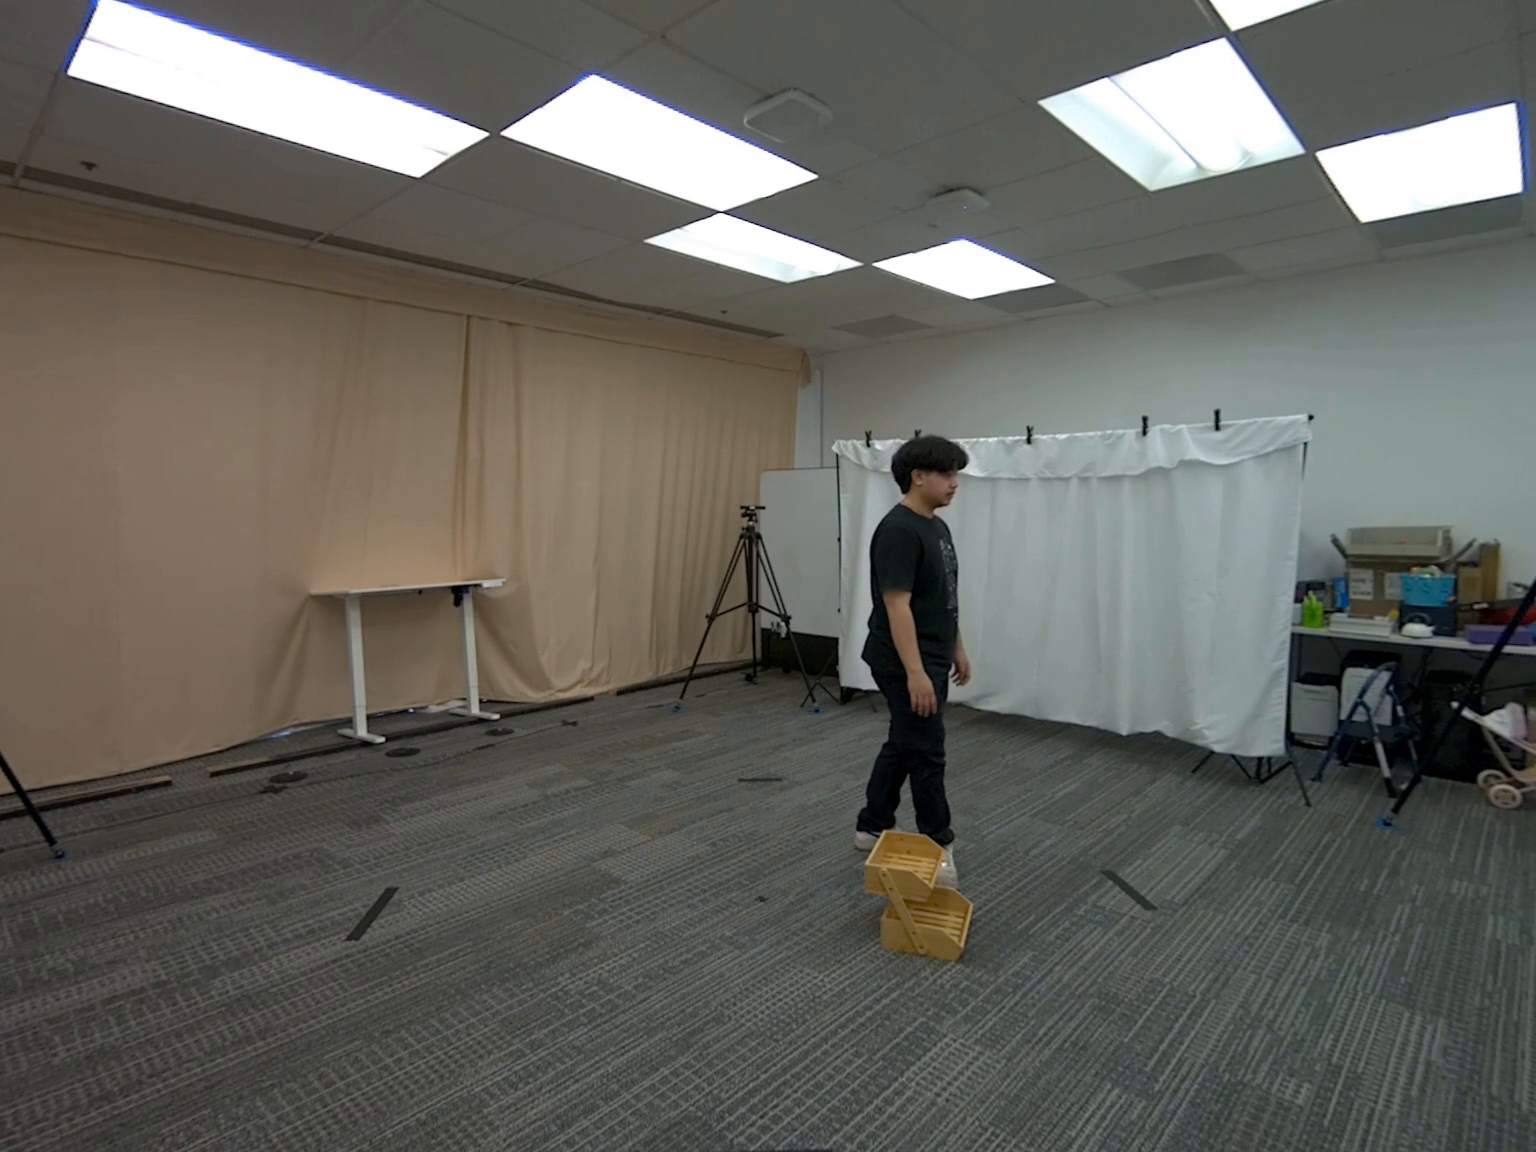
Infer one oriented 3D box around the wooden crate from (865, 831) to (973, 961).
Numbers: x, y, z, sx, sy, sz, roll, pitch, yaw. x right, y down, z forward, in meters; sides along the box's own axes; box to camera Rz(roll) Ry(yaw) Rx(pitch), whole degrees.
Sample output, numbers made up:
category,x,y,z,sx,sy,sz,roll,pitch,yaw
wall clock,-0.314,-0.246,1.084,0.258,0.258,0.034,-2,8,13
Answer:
category,x,y,z,sx,sy,sz,roll,pitch,yaw
wooden crate,0.508,1.030,2.745,0.309,0.273,0.318,0,4,21
